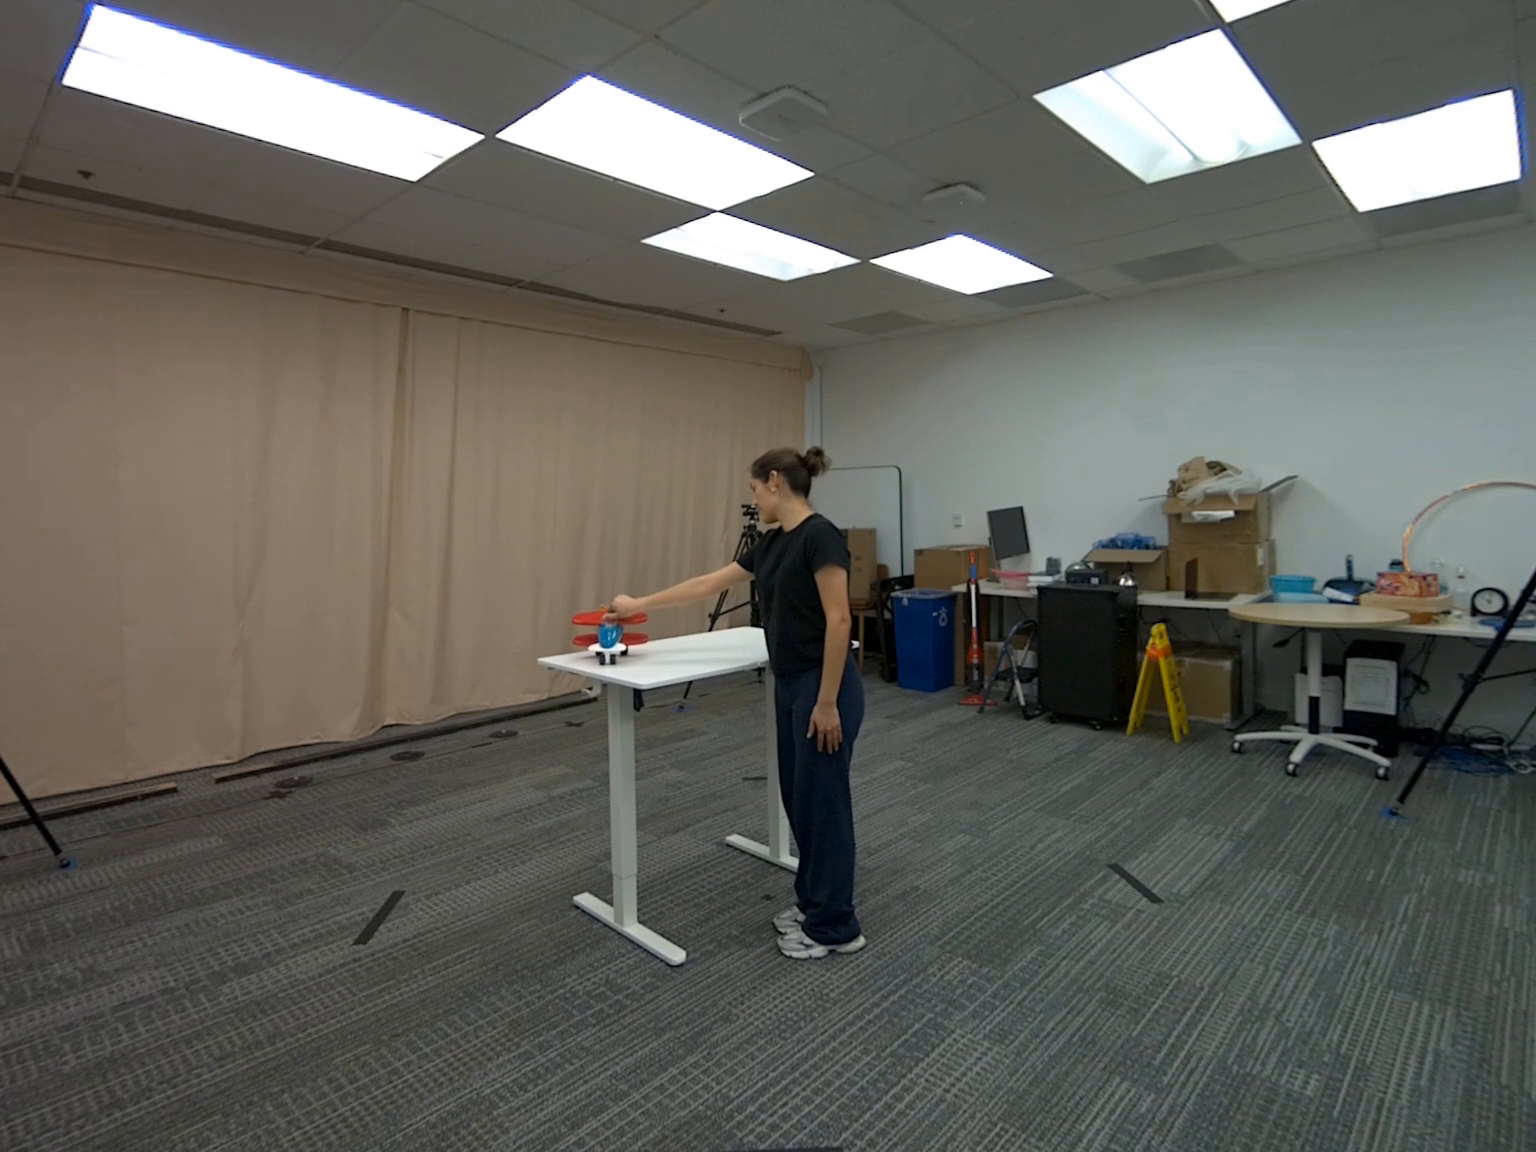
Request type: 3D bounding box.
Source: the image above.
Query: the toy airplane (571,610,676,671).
[{"bbox_3d":[-0.486,0.203,2.820,0.244,0.156,0.267,-3,3,-34],"label":"toy airplane"}]
